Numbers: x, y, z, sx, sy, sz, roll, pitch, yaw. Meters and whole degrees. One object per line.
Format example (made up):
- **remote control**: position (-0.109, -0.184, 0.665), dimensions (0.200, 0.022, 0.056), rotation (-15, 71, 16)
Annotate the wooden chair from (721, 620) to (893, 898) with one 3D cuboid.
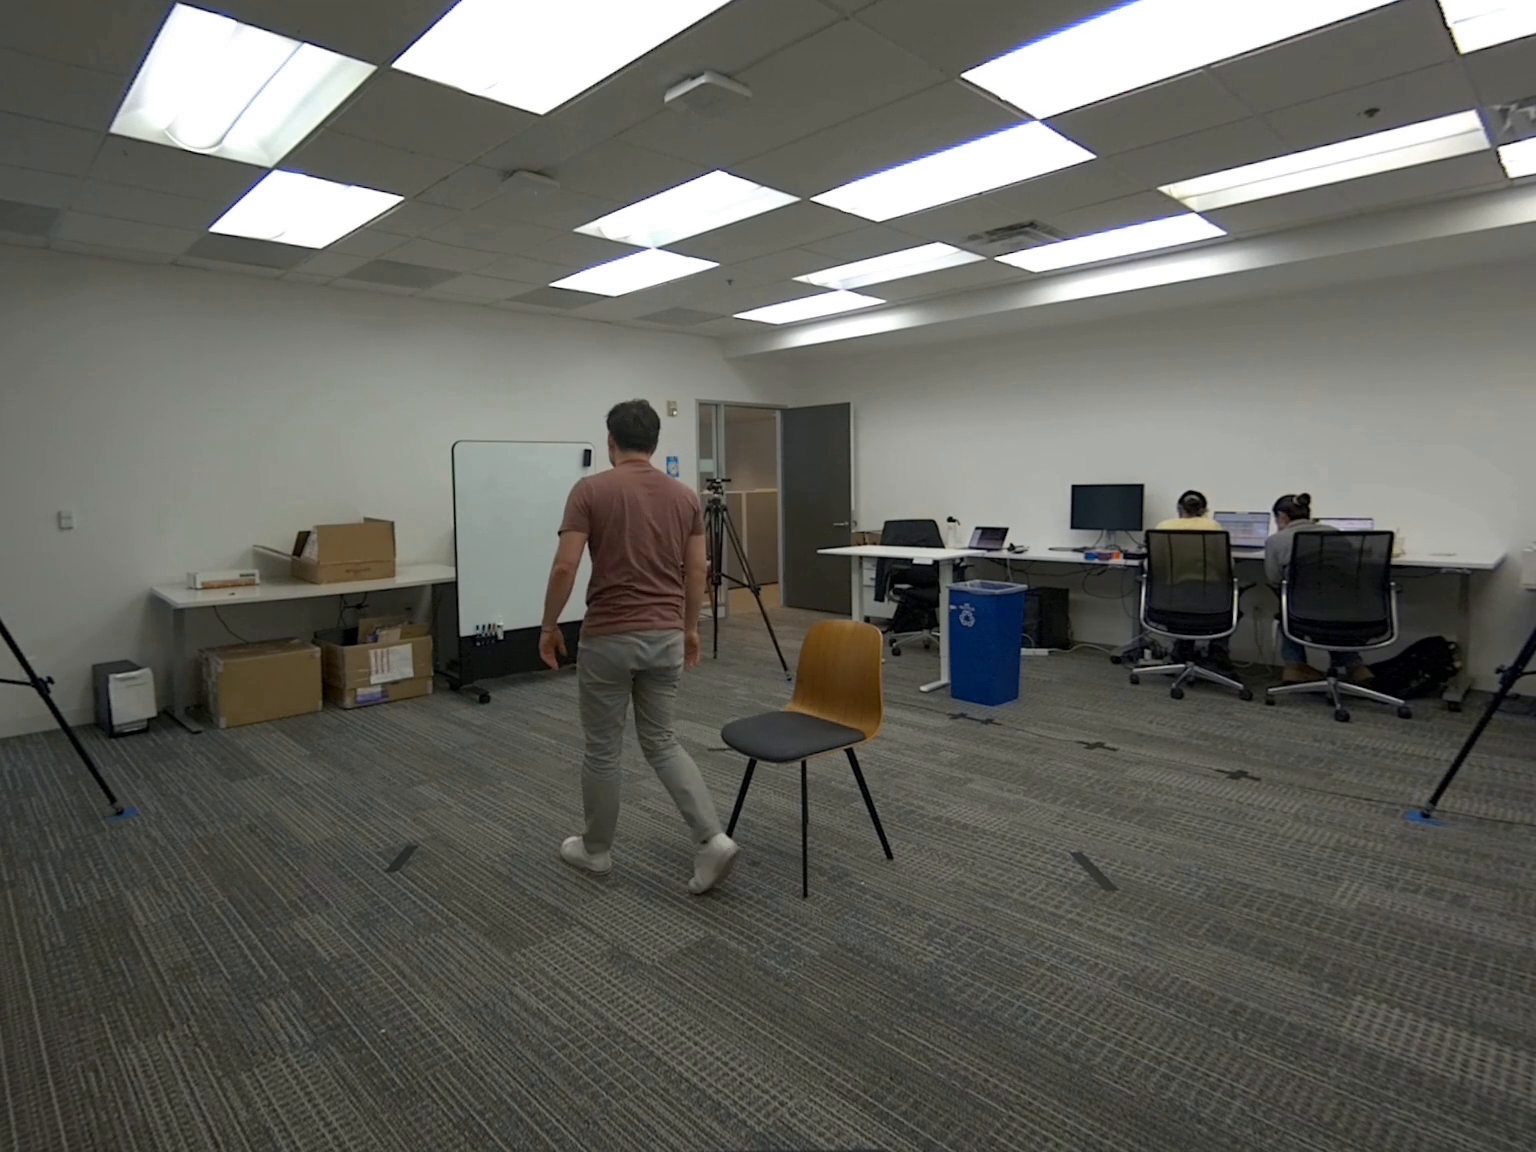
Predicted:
- **wooden chair**: position (0.123, 0.609, 3.114), dimensions (0.508, 0.876, 0.493), rotation (1, 2, -41)
